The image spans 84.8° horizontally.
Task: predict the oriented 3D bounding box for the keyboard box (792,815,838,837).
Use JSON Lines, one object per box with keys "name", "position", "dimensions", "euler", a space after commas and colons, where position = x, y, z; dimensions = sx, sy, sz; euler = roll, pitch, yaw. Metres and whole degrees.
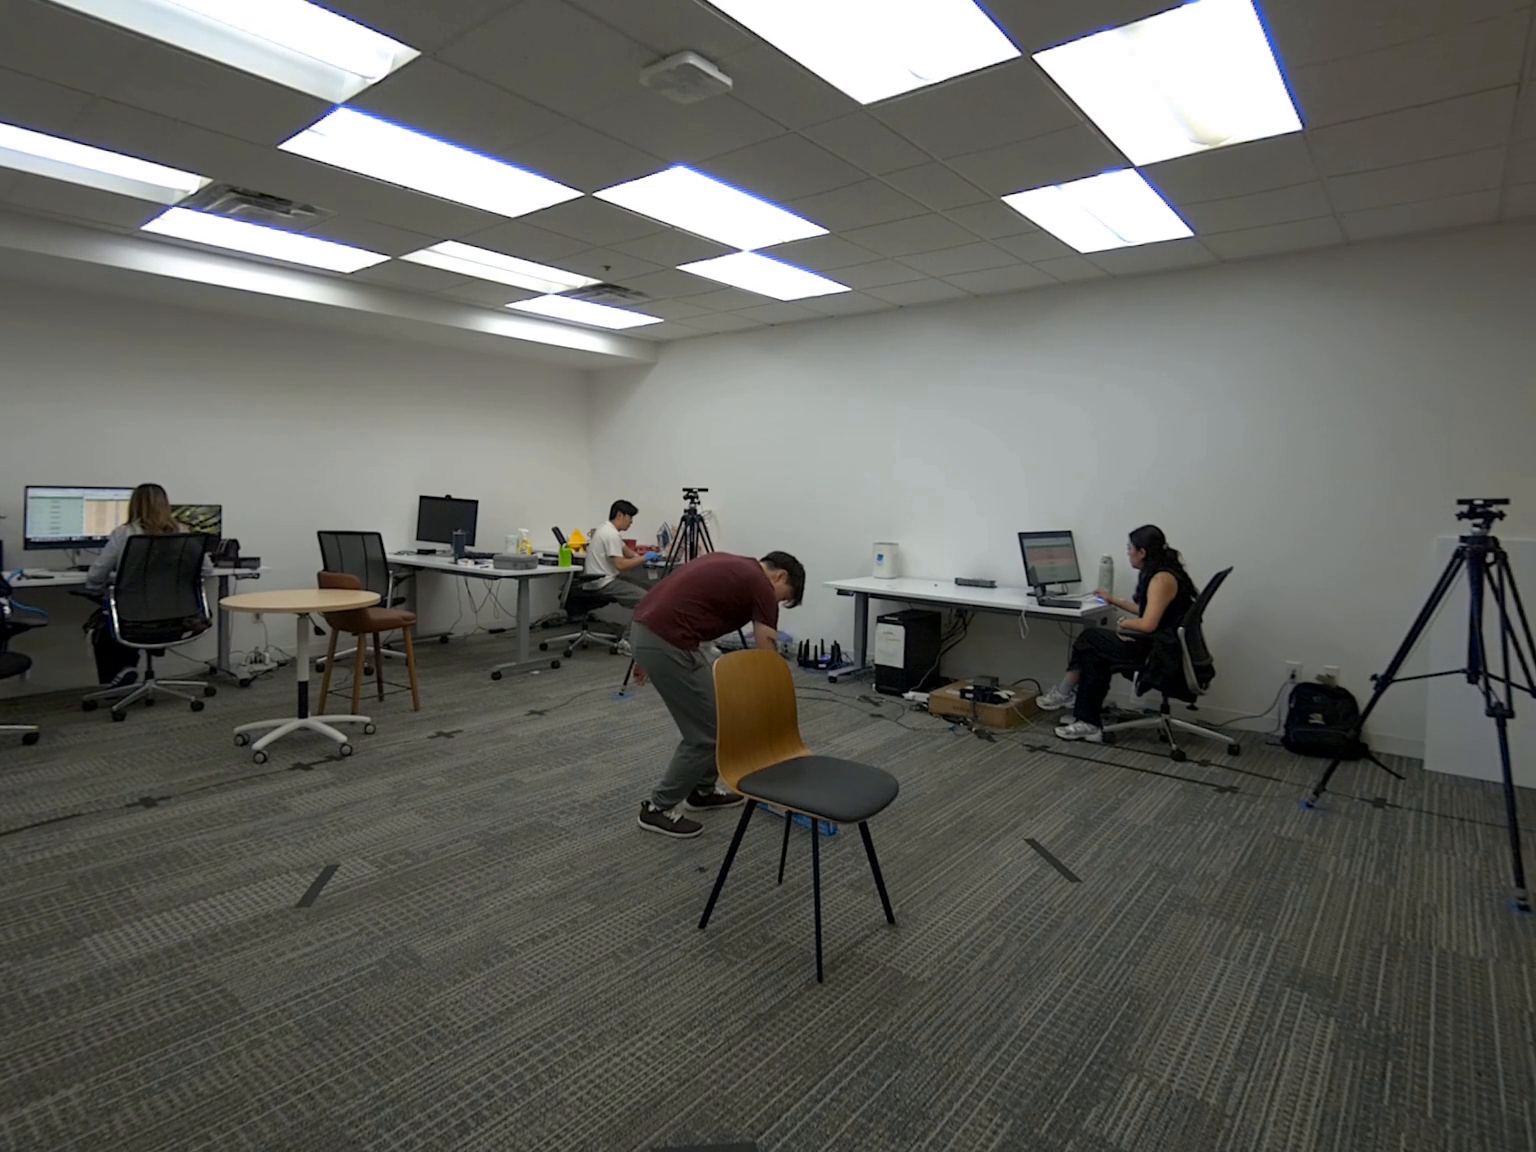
{"name": "keyboard box", "position": [0.097, 0.935, 3.593], "dimensions": [0.057, 0.174, 0.452], "euler": [-11, 12, -43]}
